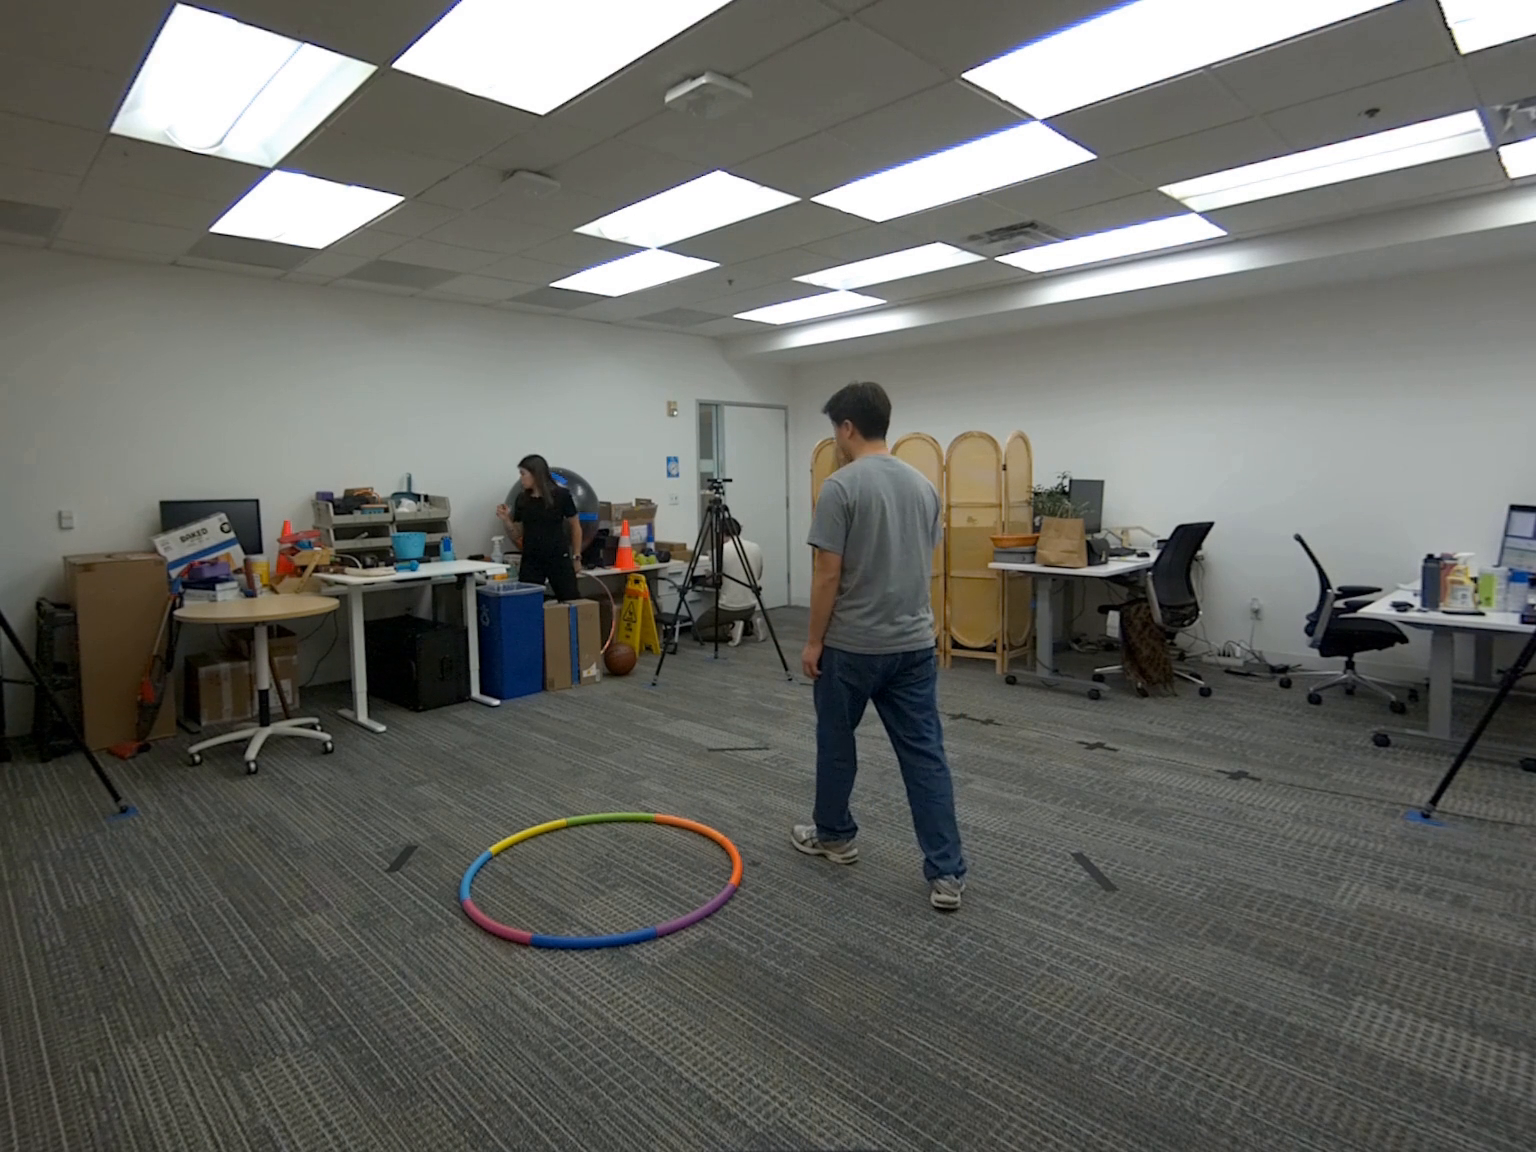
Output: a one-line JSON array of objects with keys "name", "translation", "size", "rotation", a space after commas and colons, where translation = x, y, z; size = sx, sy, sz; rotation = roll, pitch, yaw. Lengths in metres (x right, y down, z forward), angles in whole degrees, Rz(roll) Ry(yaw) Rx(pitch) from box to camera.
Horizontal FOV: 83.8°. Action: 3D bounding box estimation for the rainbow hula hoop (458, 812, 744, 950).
[{"name": "rainbow hula hoop", "translation": [-0.575, 1.029, 3.040], "size": [0.978, 0.035, 0.985], "rotation": [-1, 7, -2]}]
